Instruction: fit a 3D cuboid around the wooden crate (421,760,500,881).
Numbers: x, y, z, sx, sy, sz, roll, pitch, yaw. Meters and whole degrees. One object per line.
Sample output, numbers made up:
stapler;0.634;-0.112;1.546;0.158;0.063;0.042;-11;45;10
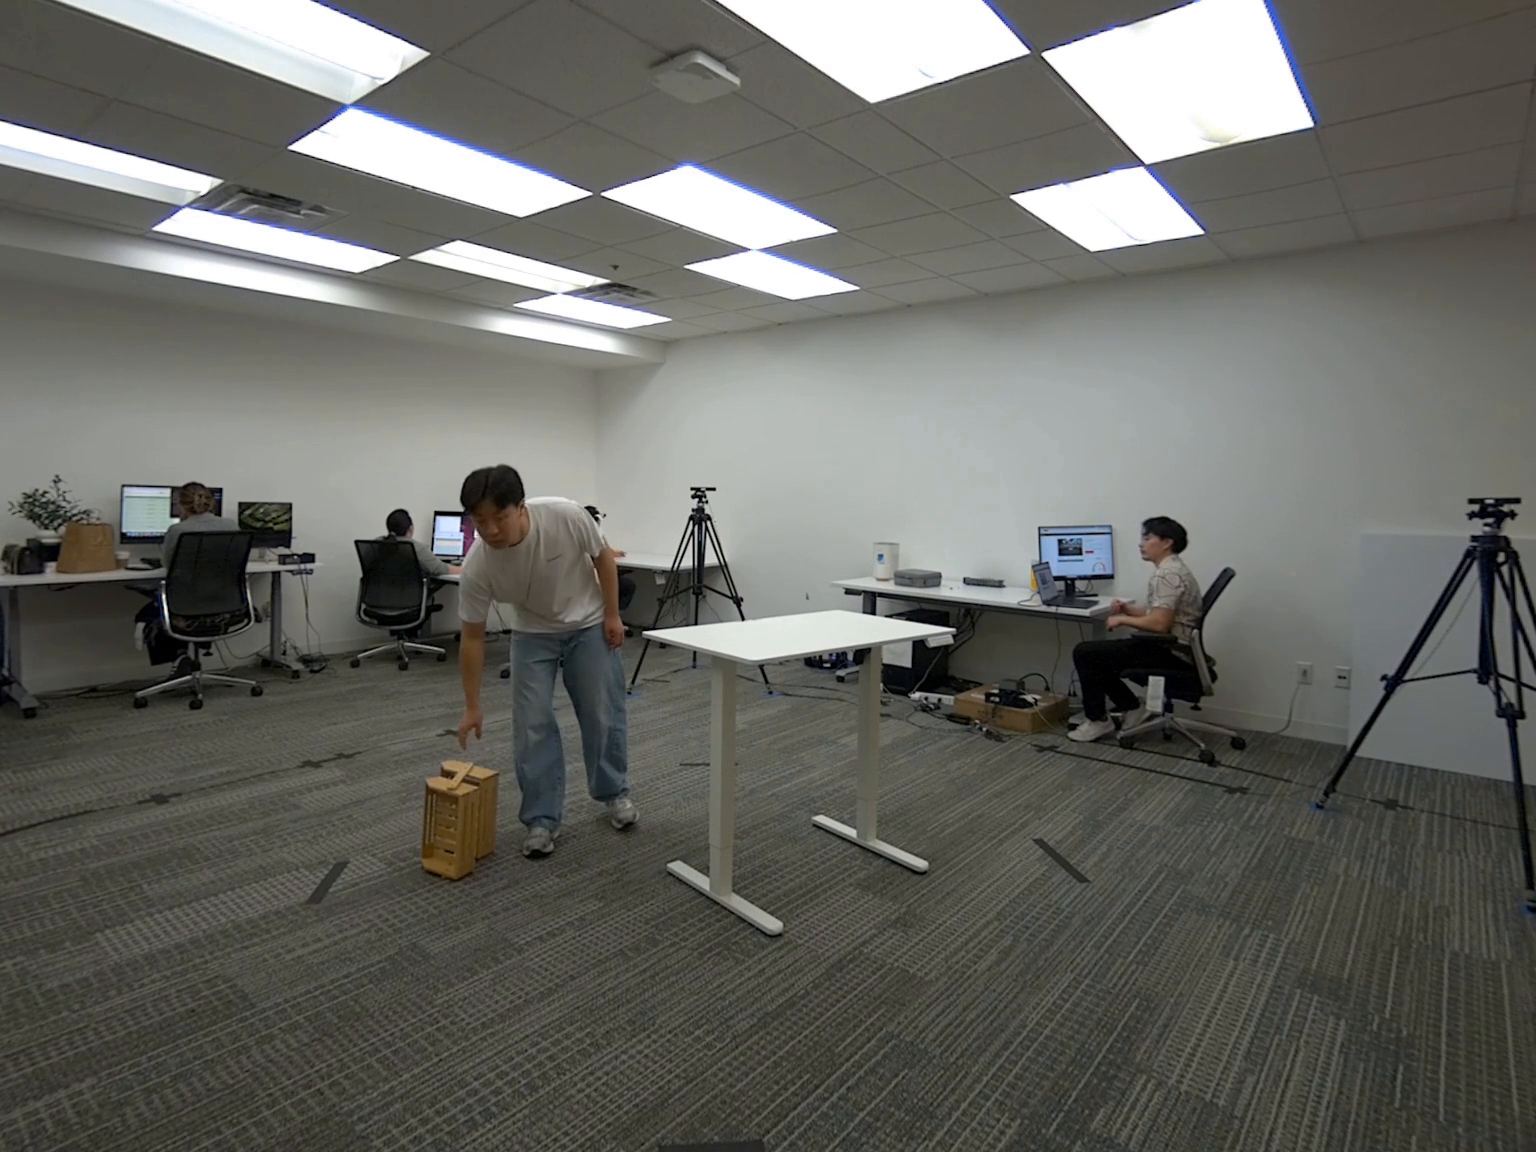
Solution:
wooden crate;-1.183;0.886;3.124;0.309;0.324;0.267;5;4;22
